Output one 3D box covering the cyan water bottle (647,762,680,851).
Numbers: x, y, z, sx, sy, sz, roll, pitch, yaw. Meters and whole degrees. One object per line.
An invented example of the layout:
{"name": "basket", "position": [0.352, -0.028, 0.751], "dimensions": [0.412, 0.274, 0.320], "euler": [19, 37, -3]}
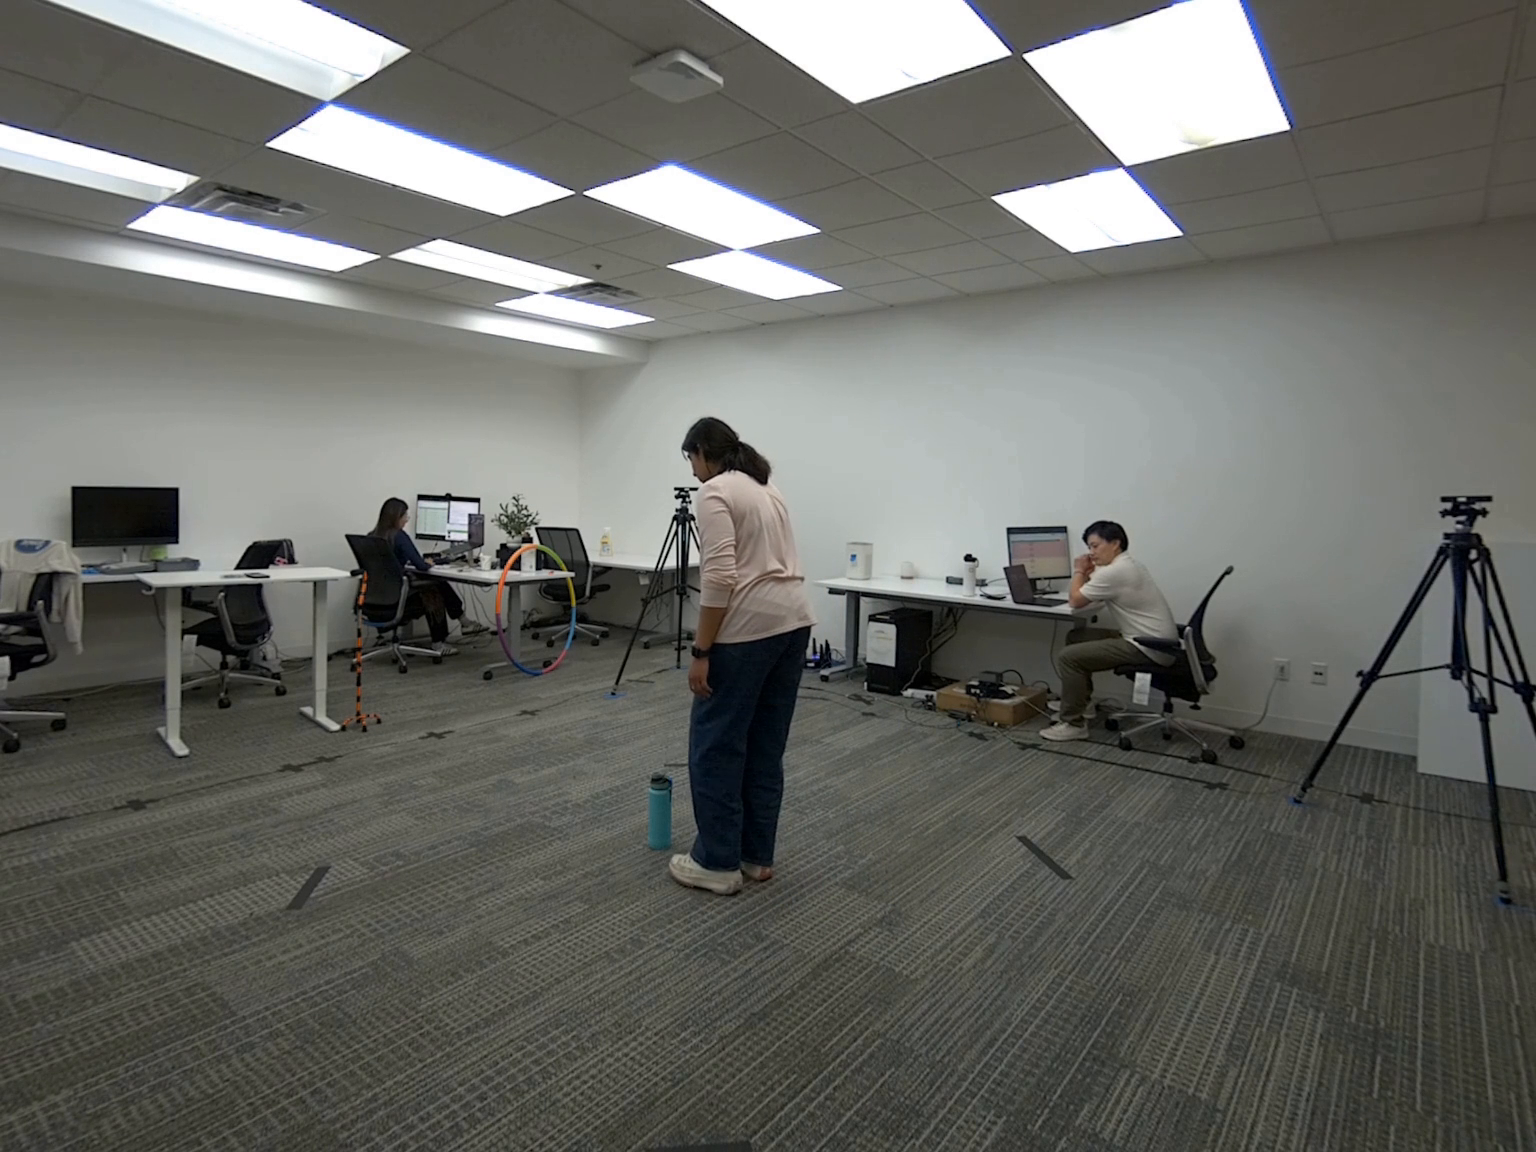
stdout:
{"name": "cyan water bottle", "position": [-0.431, 0.904, 3.304], "dimensions": [0.092, 0.283, 0.093], "euler": [2, 3, -2]}
